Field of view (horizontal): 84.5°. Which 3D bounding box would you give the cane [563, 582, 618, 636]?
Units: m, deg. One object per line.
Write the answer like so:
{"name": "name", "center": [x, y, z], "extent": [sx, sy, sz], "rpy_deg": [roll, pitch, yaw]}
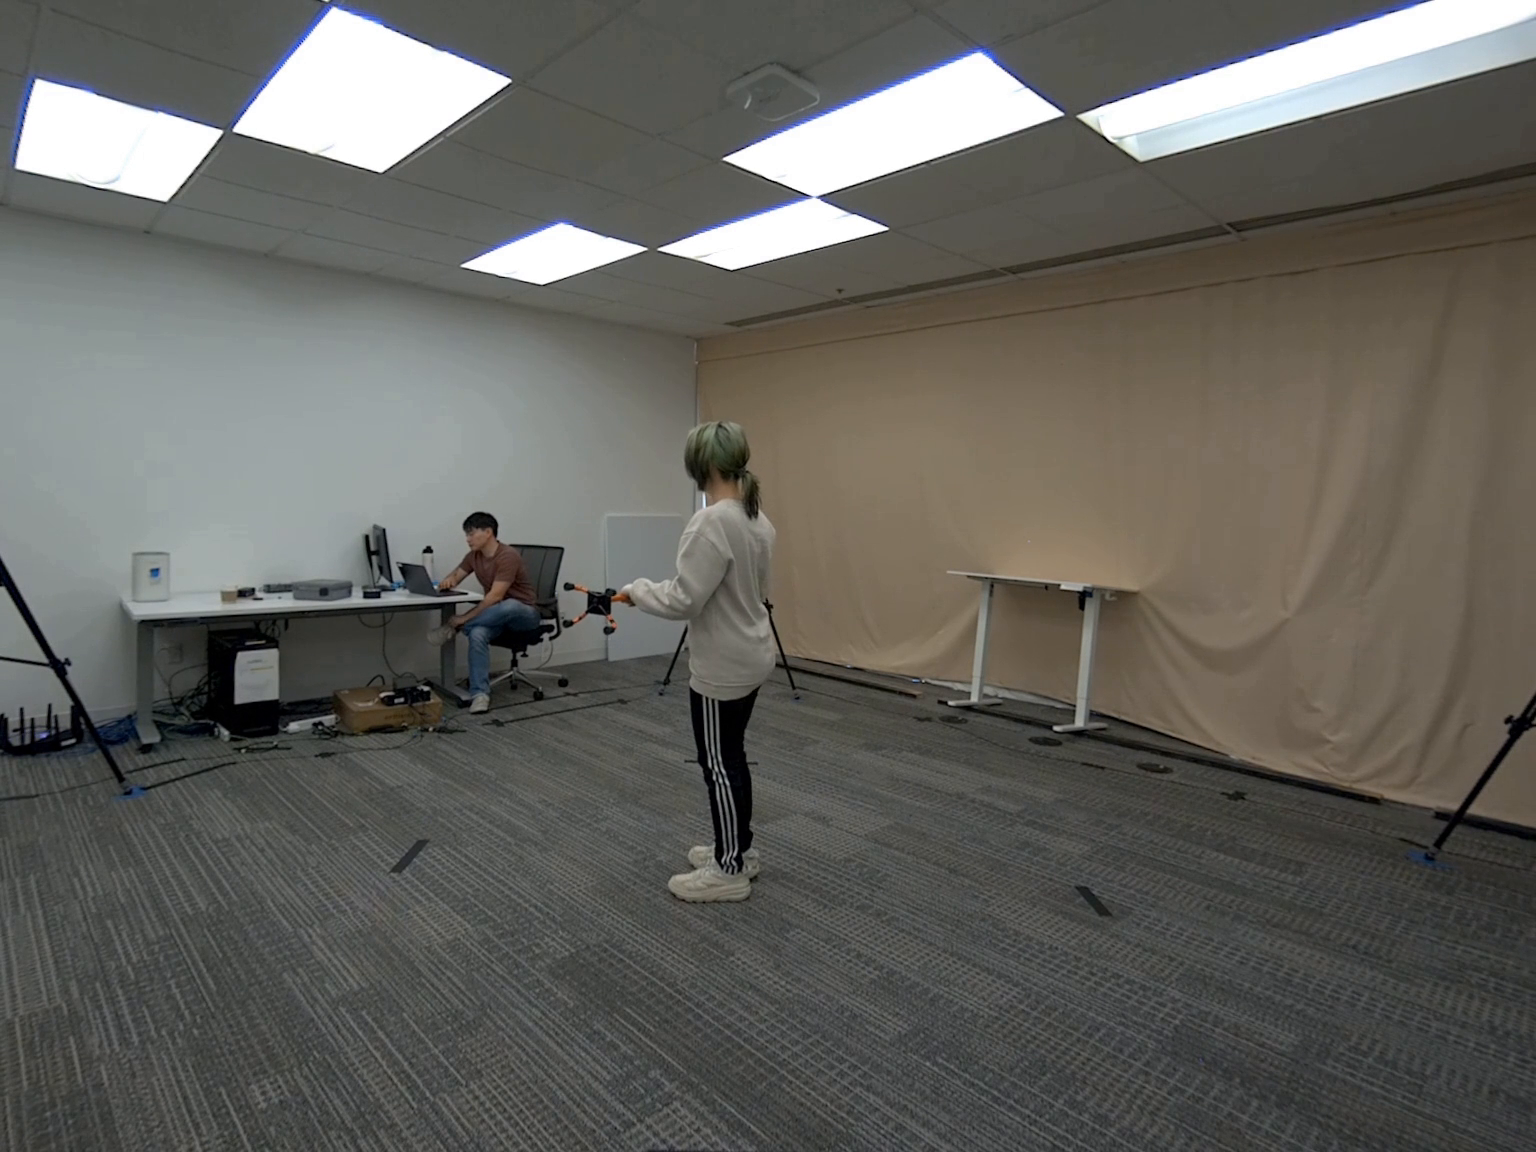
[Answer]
{"name": "cane", "center": [-0.387, 0.076, 3.131], "extent": [0.211, 0.151, 0.891], "rpy_deg": [6, 6, 29]}
